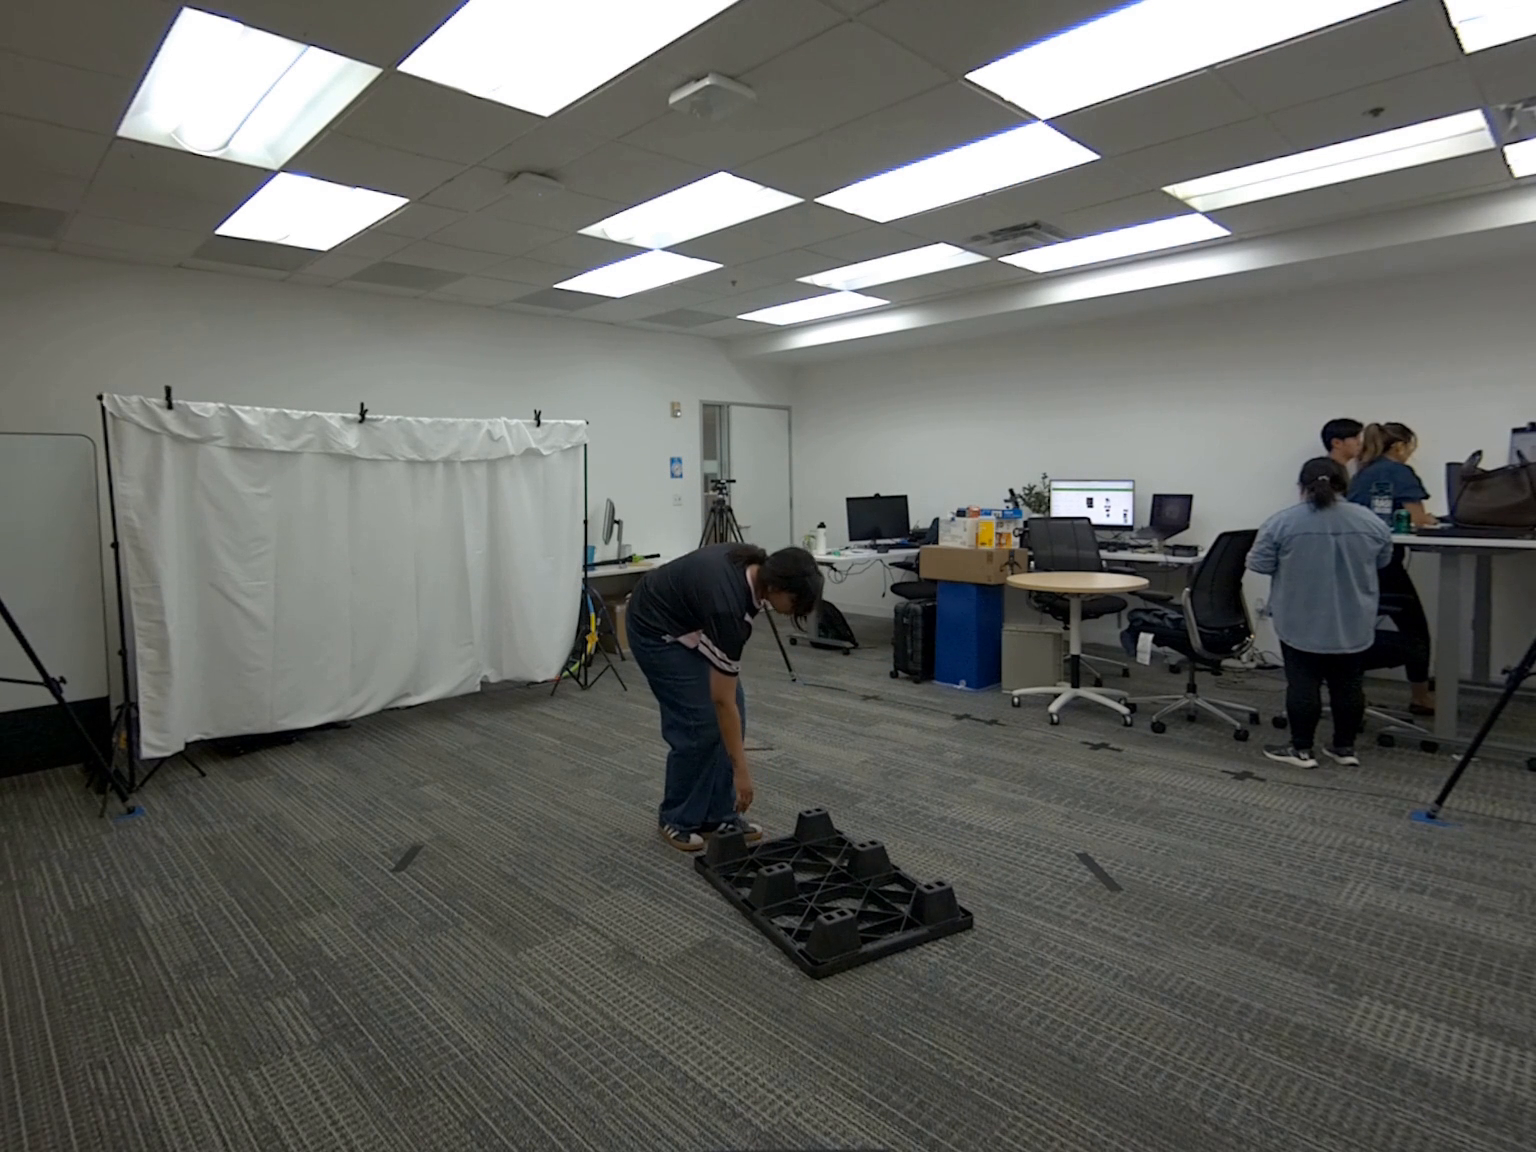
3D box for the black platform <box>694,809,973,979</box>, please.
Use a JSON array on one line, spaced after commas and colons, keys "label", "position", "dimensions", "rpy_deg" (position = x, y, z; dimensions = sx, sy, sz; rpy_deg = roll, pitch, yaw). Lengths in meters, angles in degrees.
[{"label": "black platform", "position": [0.182, 1.006, 2.859], "dimensions": [0.591, 0.143, 0.828], "rpy_deg": [-4, 7, -29]}]
